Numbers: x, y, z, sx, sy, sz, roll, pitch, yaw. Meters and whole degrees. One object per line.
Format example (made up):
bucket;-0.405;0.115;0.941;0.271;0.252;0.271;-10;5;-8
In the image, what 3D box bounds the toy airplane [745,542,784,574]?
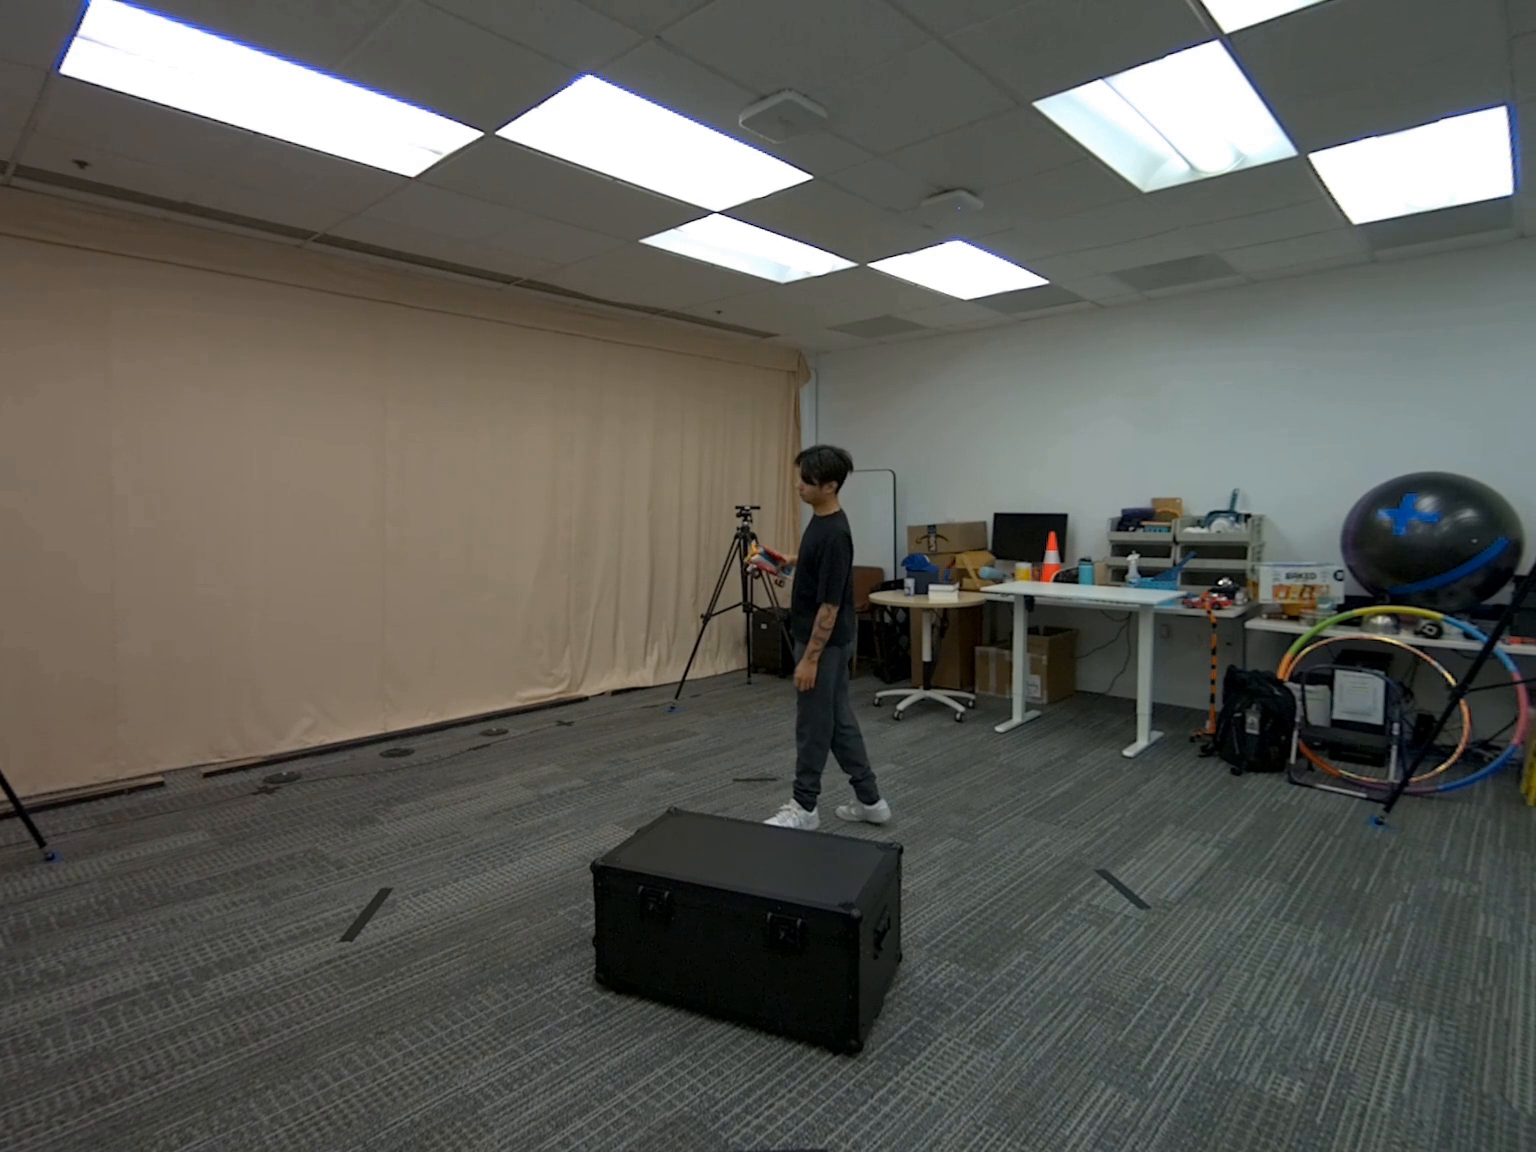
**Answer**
toy airplane;-0.011;-0.062;4.072;0.259;0.156;0.251;24;5;31
